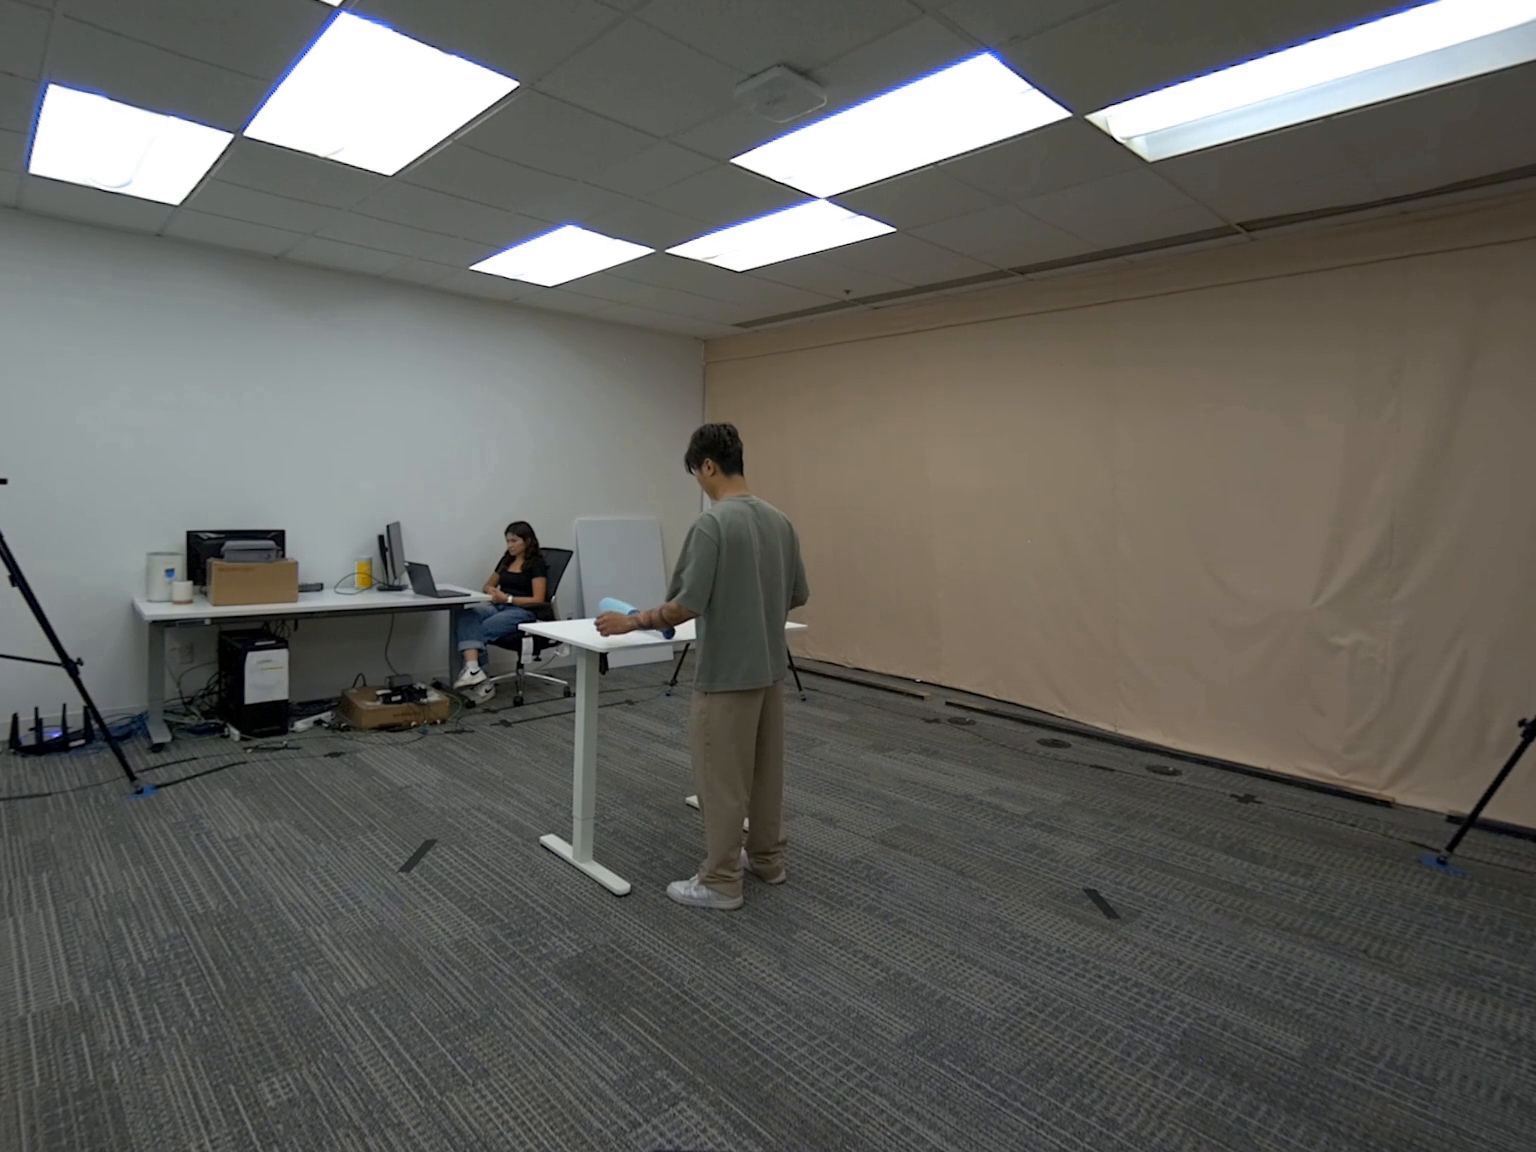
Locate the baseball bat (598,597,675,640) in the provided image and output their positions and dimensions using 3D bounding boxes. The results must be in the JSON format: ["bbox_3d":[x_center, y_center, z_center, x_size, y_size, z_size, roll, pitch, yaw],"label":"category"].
[{"bbox_3d":[-0.513,0.170,3.238,0.087,0.088,0.558,-2,10,-35],"label":"baseball bat"}]
